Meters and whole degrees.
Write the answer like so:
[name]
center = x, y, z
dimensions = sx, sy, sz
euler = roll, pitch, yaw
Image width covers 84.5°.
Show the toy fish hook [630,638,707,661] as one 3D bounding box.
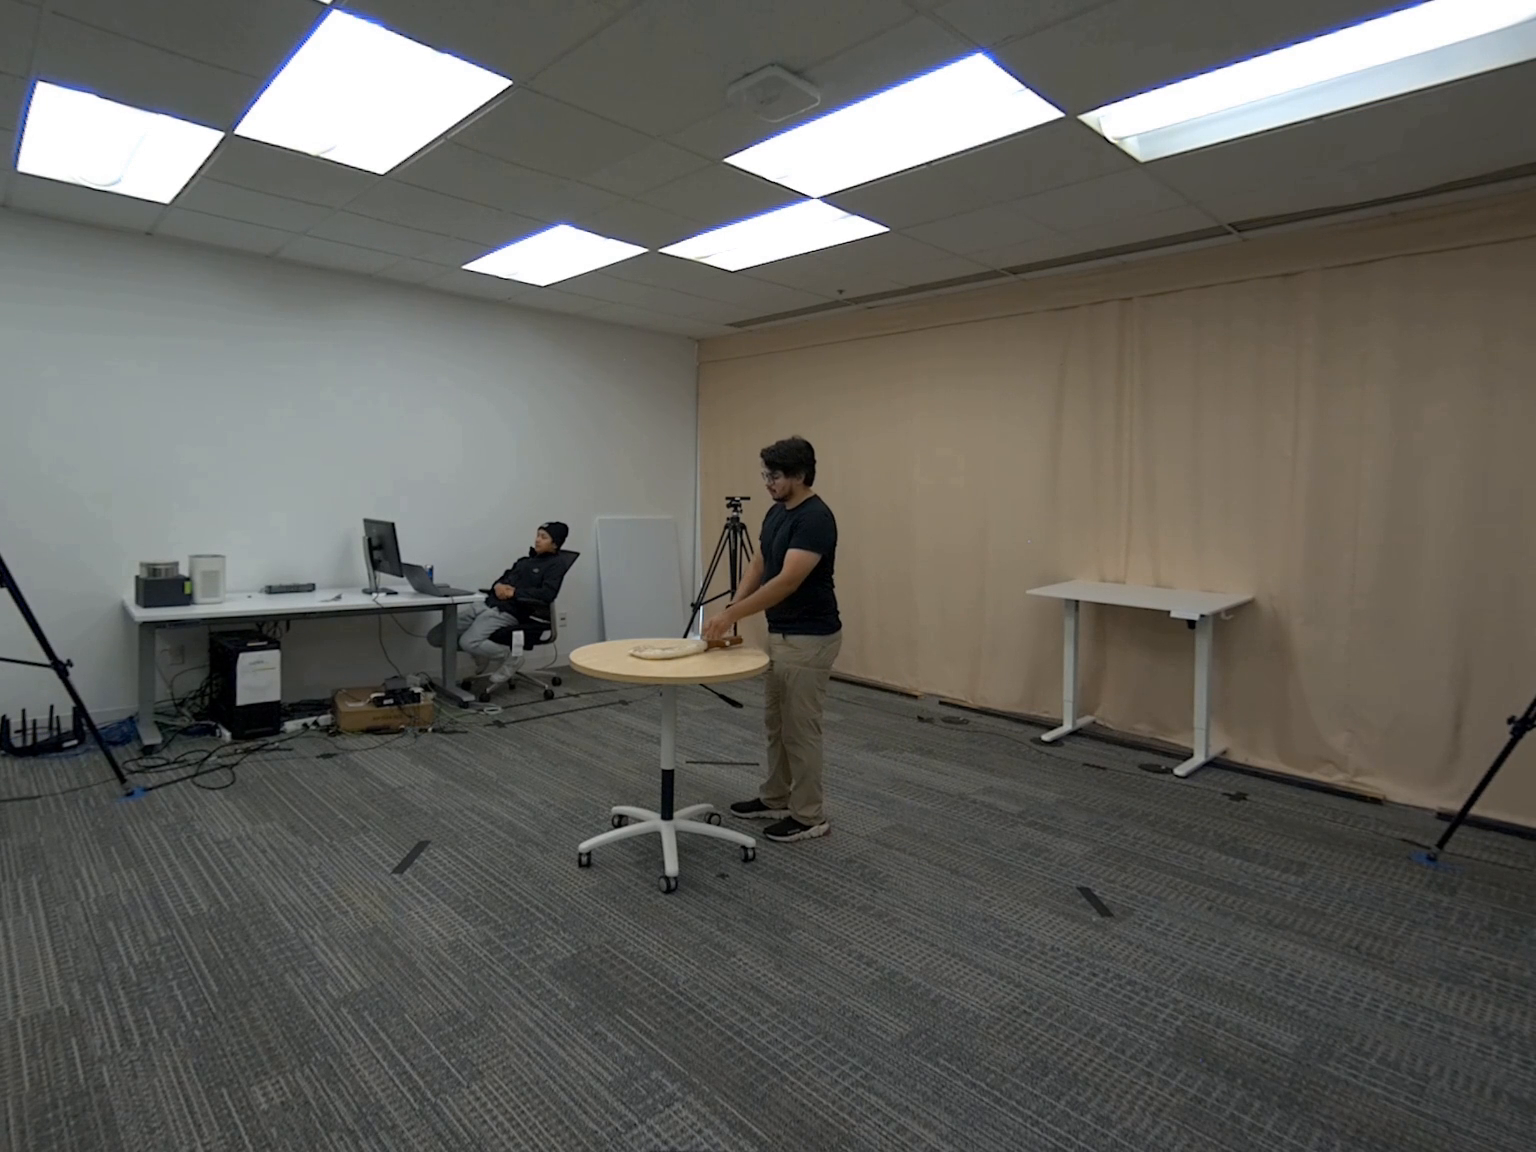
[toy fish hook]
center = -0.331, 0.276, 3.344
dimensions = 0.495, 0.048, 0.231
euler = -3, 9, -44
